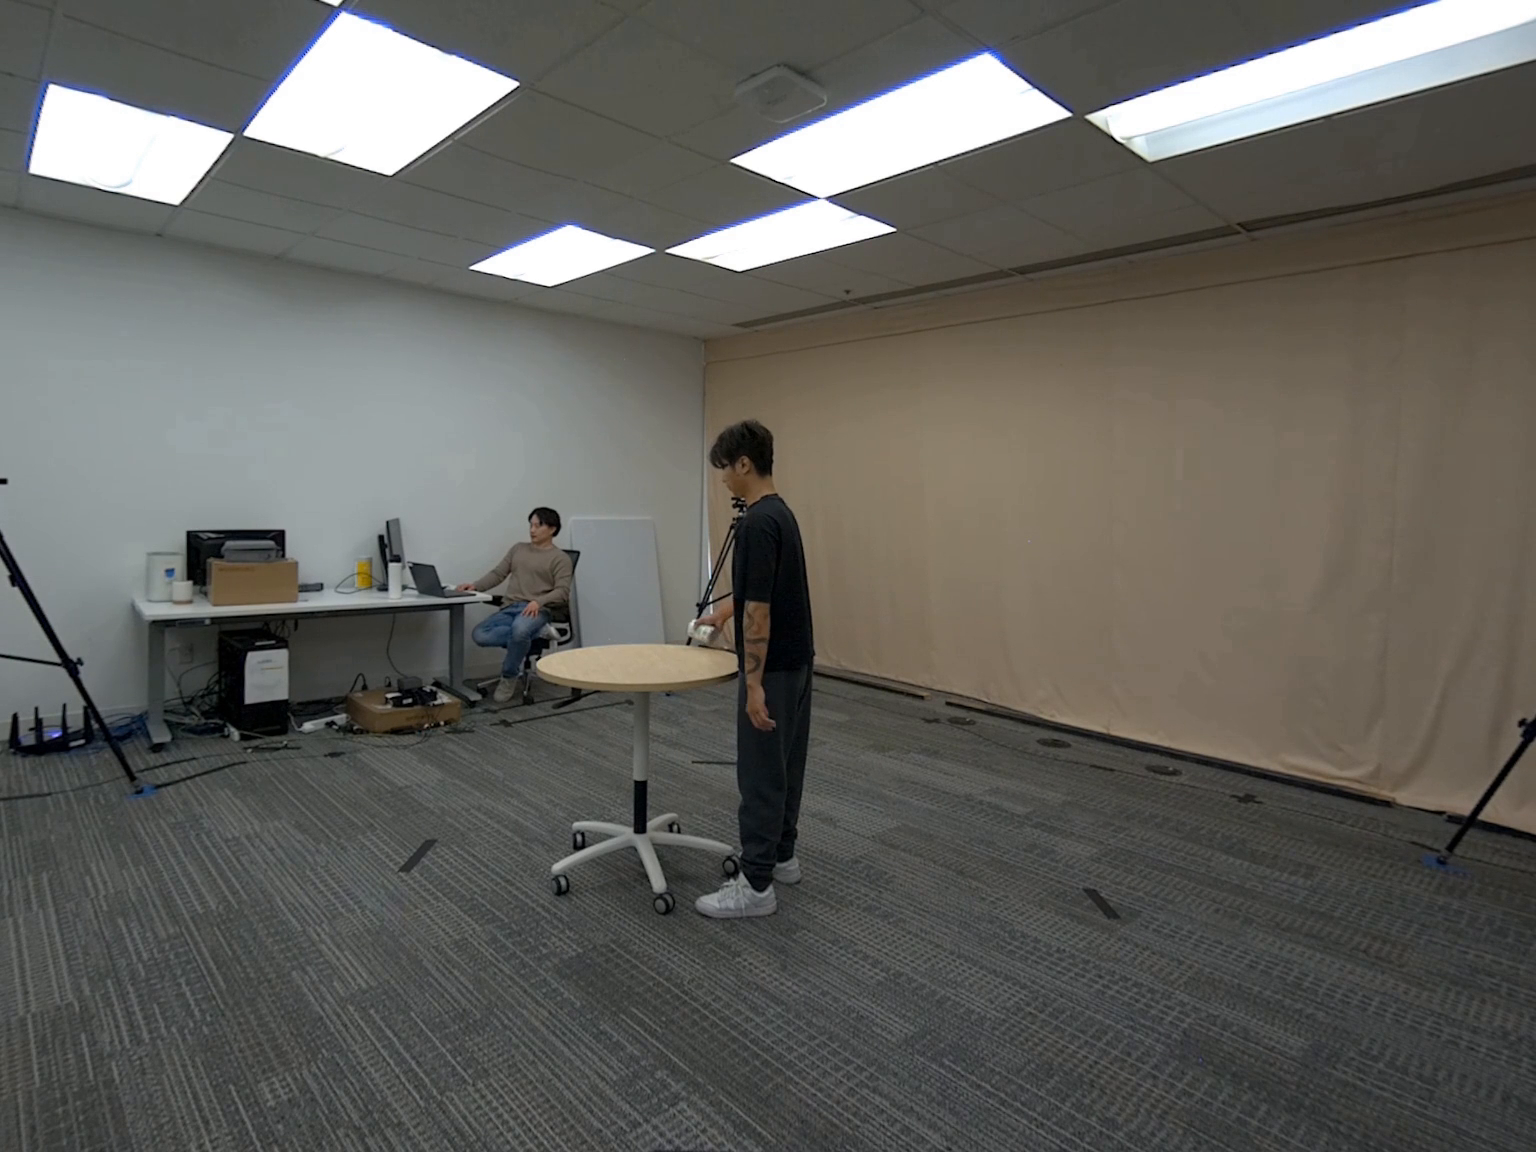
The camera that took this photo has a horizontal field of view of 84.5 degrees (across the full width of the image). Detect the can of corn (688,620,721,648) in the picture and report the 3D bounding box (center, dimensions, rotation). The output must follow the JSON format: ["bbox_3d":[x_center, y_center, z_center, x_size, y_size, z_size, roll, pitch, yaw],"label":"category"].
[{"bbox_3d":[-0.273,0.228,3.397,0.114,0.074,0.073,17,11,29],"label":"can of corn"}]
